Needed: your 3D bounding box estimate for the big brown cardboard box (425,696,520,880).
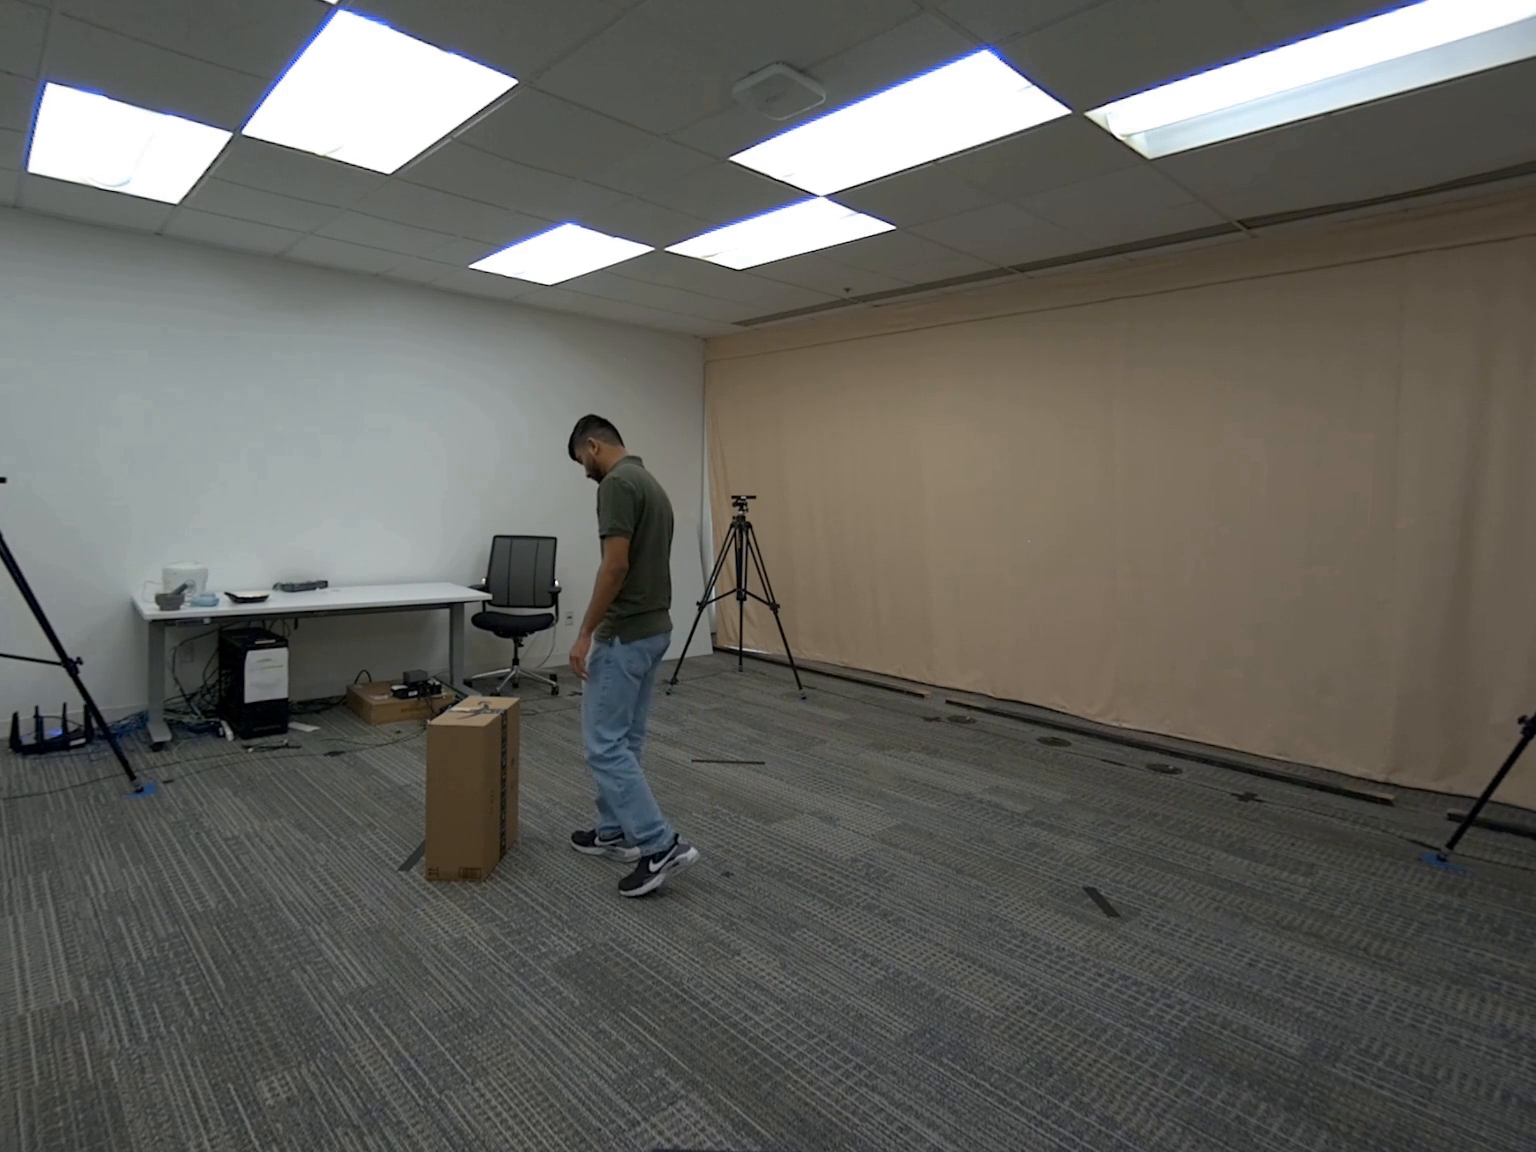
[{"bbox_3d":[-1.112,0.788,3.194,0.233,0.588,0.417,2,3,1],"label":"big brown cardboard box"}]
